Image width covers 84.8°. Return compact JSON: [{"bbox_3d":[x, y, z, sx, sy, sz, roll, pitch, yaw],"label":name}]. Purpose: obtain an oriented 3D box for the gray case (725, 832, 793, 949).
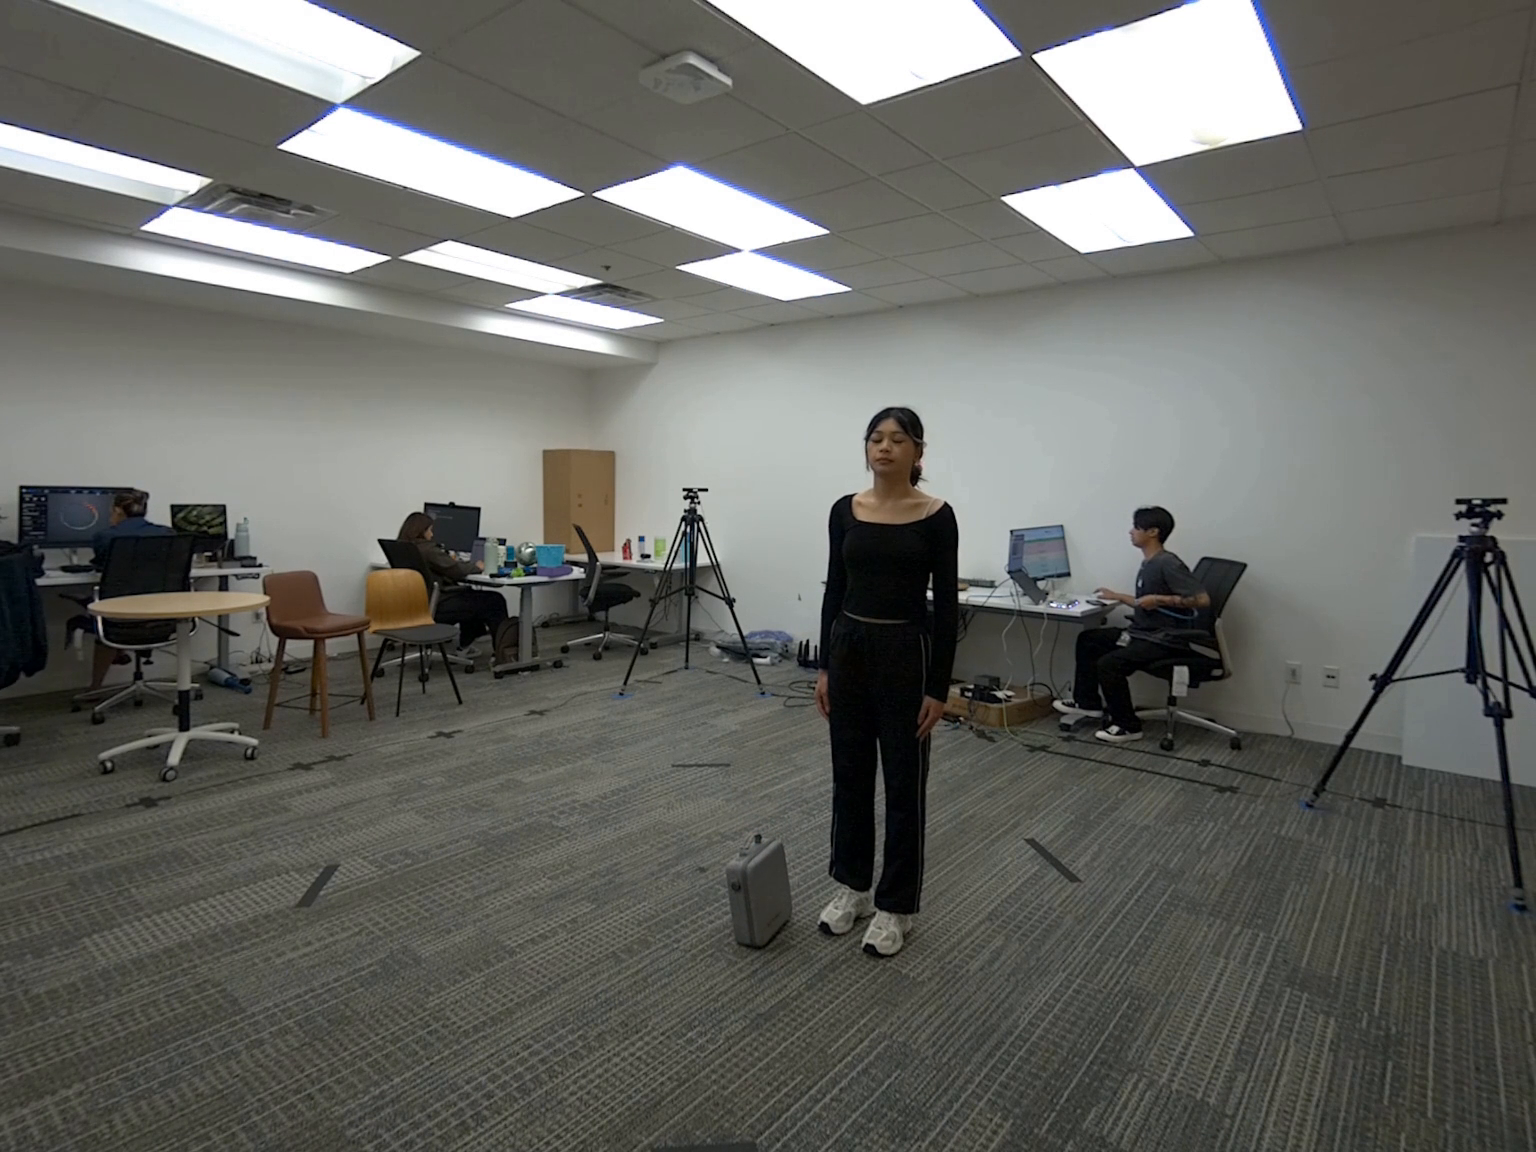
[{"bbox_3d":[-0.034,0.984,2.683,0.106,0.261,0.251,-9,-2,26],"label":"gray case"}]
